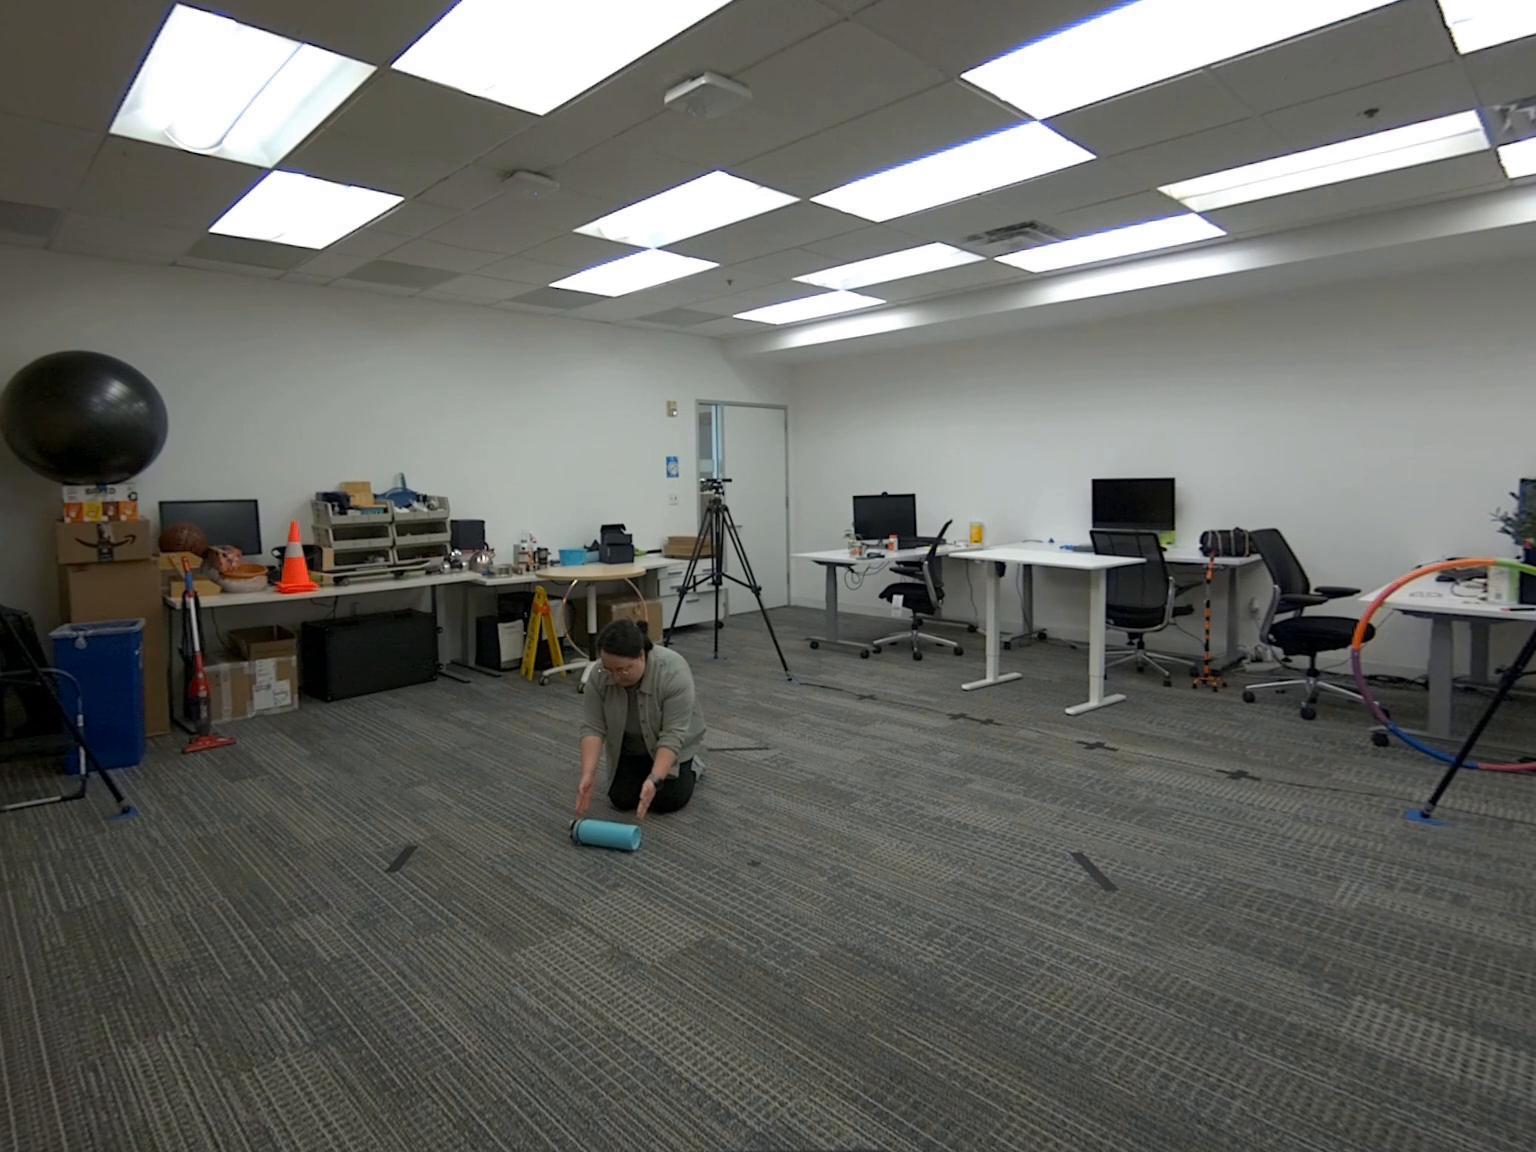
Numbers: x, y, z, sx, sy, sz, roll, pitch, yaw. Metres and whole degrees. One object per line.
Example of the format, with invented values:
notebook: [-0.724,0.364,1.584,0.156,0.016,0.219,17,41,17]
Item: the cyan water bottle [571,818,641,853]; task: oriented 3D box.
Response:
cyan water bottle: [-0.637,0.990,3.281,0.288,0.092,0.091,1,5,18]
